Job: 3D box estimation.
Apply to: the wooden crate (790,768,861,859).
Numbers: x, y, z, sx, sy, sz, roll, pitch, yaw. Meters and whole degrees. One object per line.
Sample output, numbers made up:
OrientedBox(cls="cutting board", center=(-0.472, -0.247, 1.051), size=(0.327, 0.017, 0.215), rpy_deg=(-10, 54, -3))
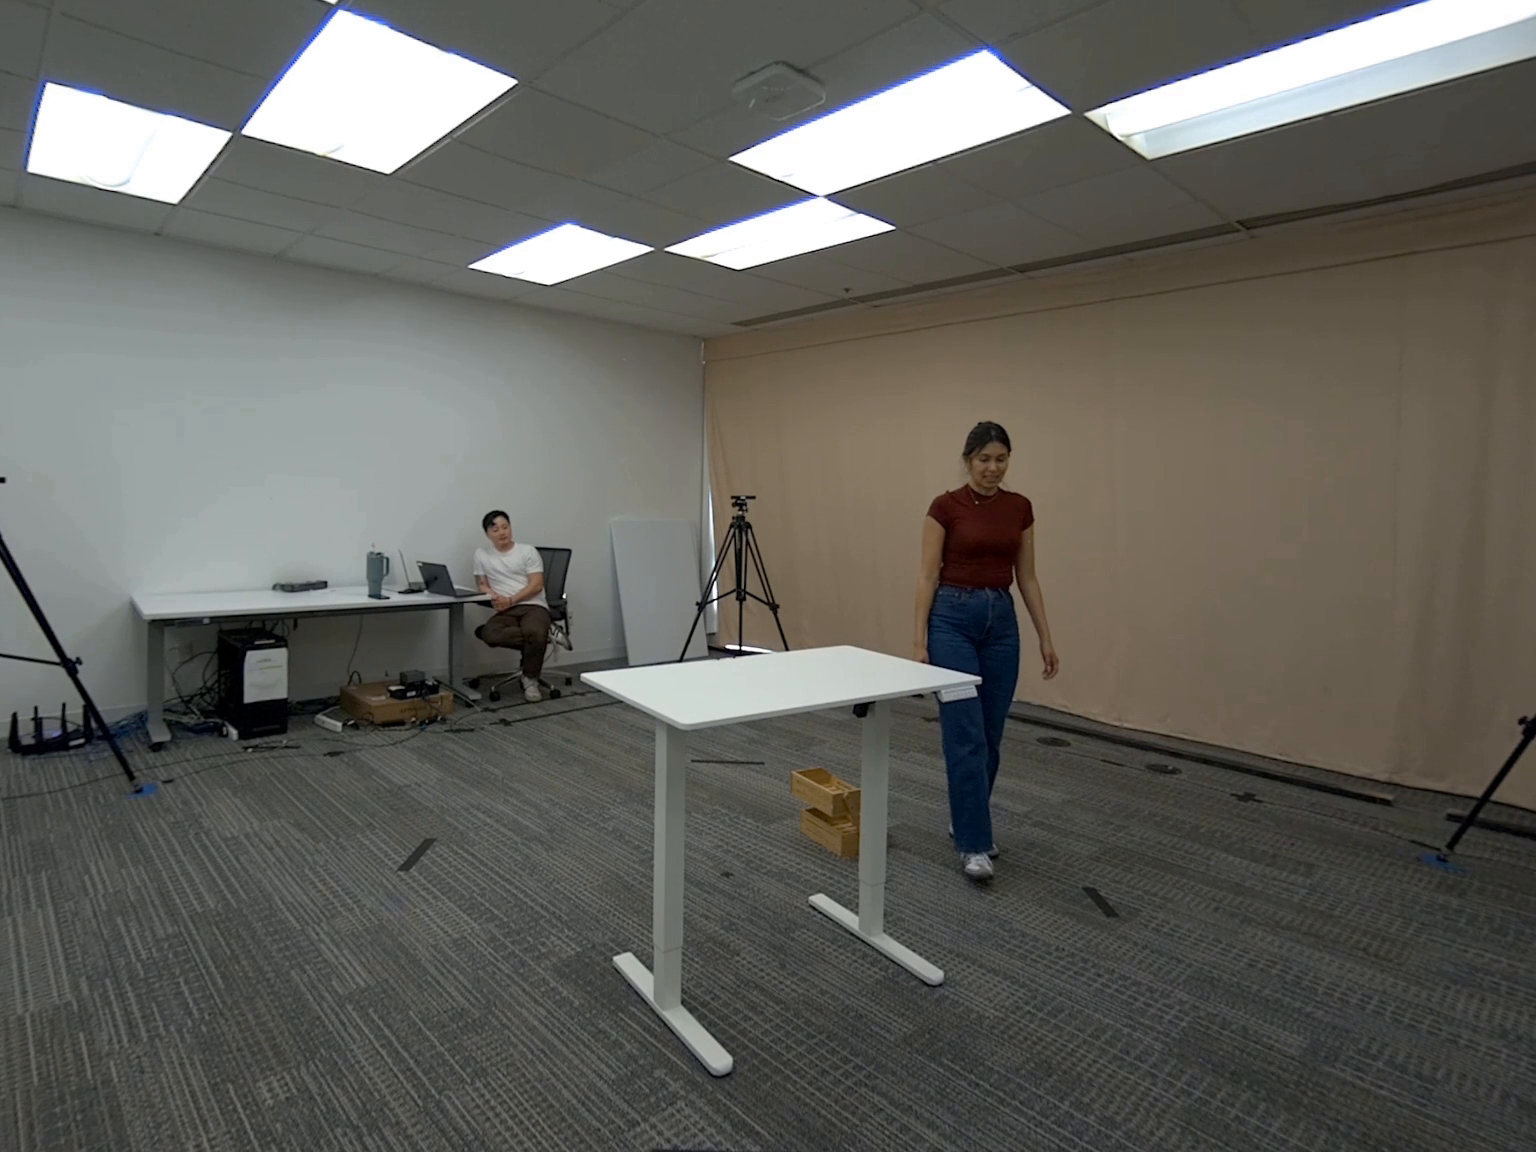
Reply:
OrientedBox(cls="wooden crate", center=(0.295, 0.945, 3.447), size=(0.296, 0.272, 0.332), rpy_deg=(-1, 5, -30))
